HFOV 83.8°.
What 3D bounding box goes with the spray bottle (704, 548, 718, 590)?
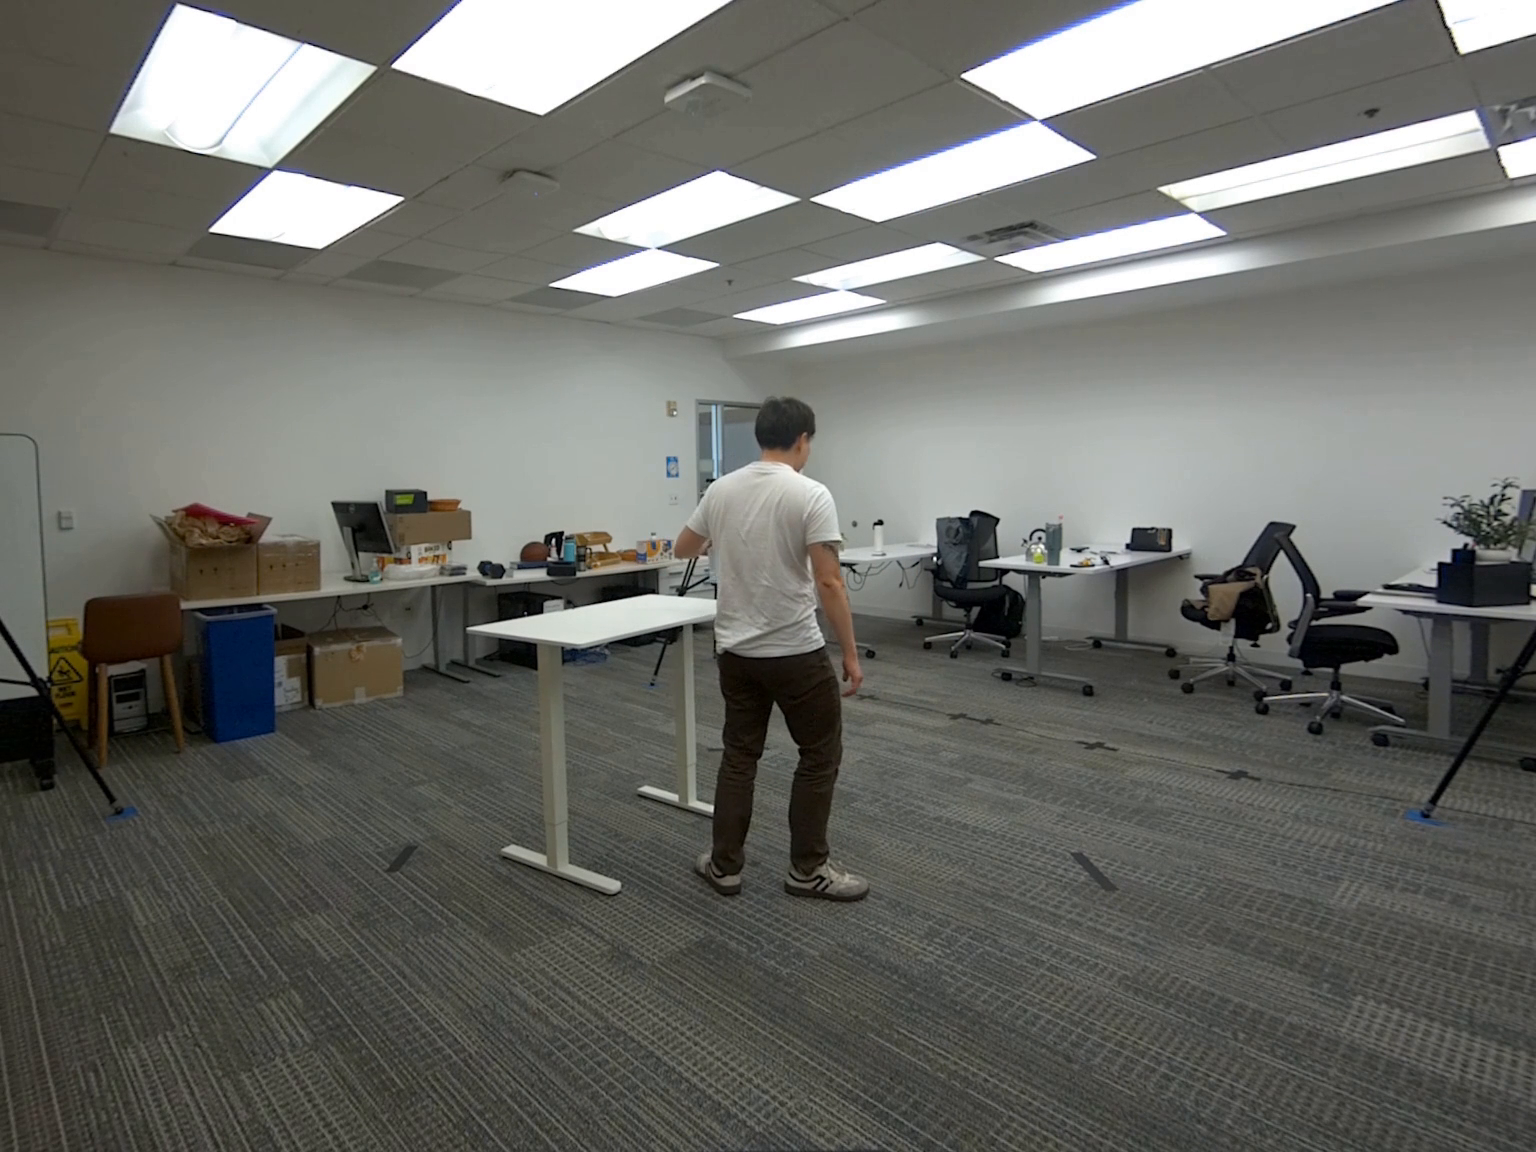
[{"bbox_3d":[-0.196,-0.106,3.322,0.088,0.295,0.090,-2,6,7],"label":"spray bottle"}]
